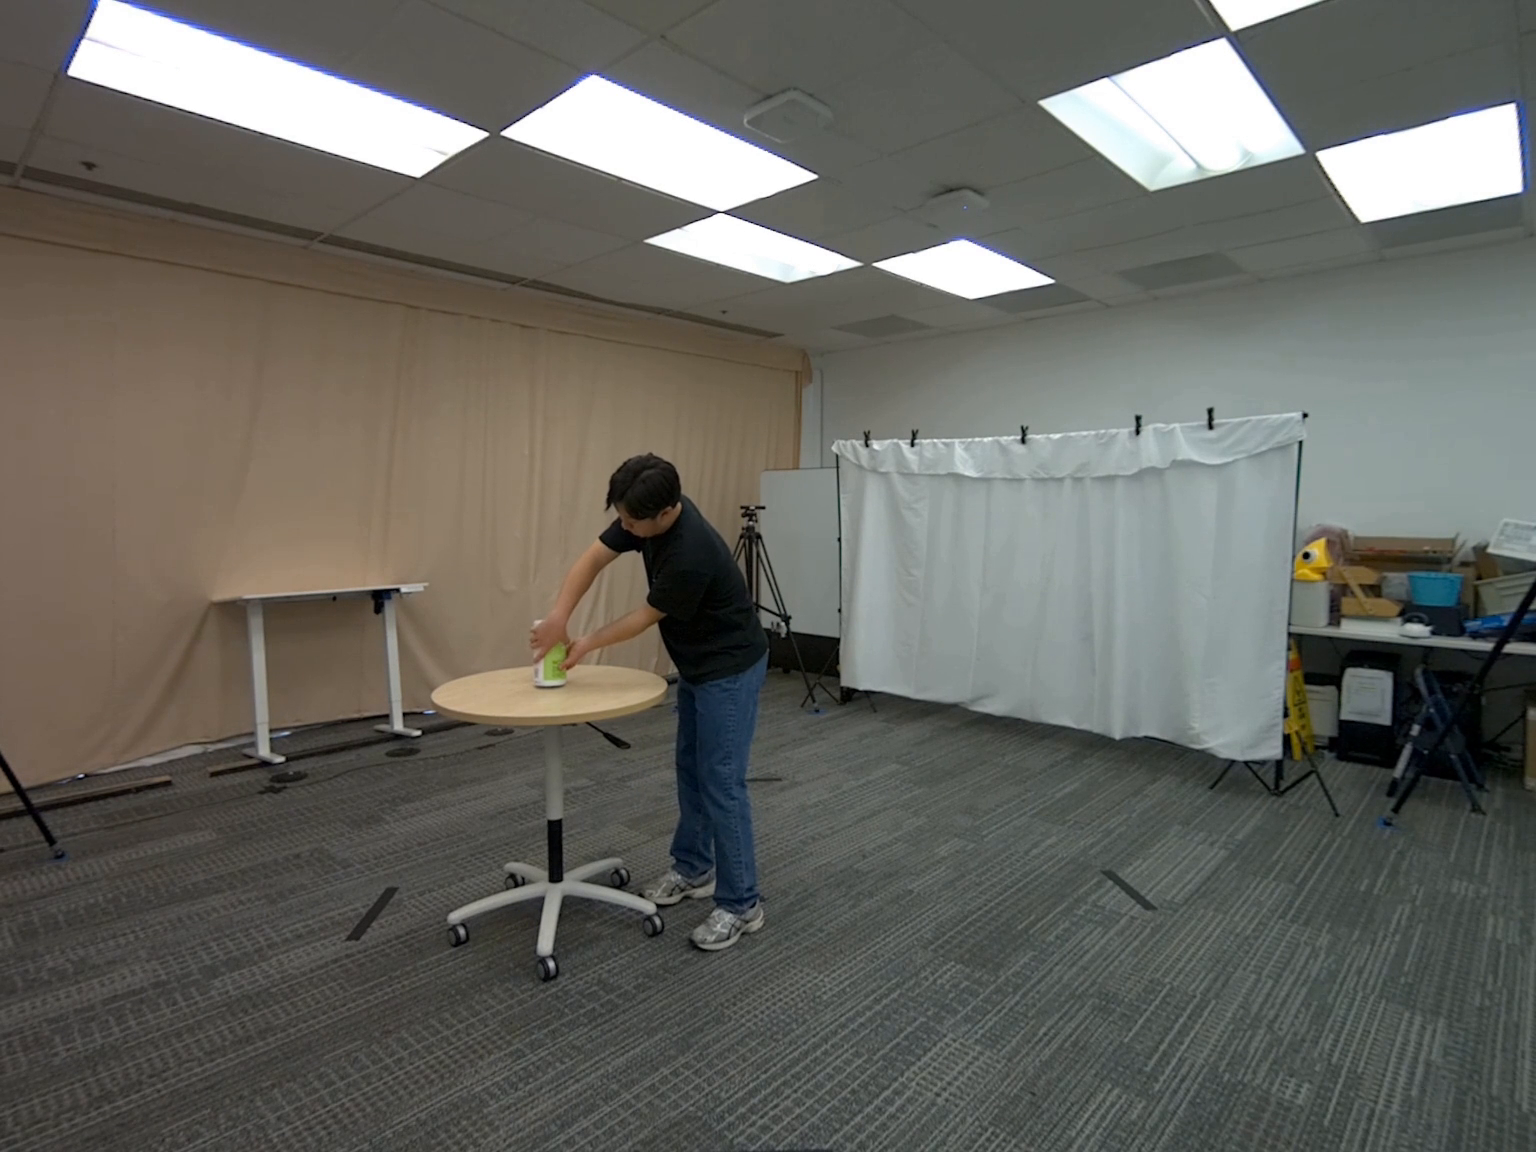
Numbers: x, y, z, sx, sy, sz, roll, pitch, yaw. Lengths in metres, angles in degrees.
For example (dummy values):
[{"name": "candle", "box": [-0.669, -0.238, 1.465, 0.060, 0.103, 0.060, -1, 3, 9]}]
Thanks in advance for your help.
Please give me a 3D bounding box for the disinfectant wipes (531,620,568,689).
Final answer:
[{"name": "disinfectant wipes", "box": [-0.731, 0.259, 2.818, 0.118, 0.218, 0.118, 1, -2, -2]}]
